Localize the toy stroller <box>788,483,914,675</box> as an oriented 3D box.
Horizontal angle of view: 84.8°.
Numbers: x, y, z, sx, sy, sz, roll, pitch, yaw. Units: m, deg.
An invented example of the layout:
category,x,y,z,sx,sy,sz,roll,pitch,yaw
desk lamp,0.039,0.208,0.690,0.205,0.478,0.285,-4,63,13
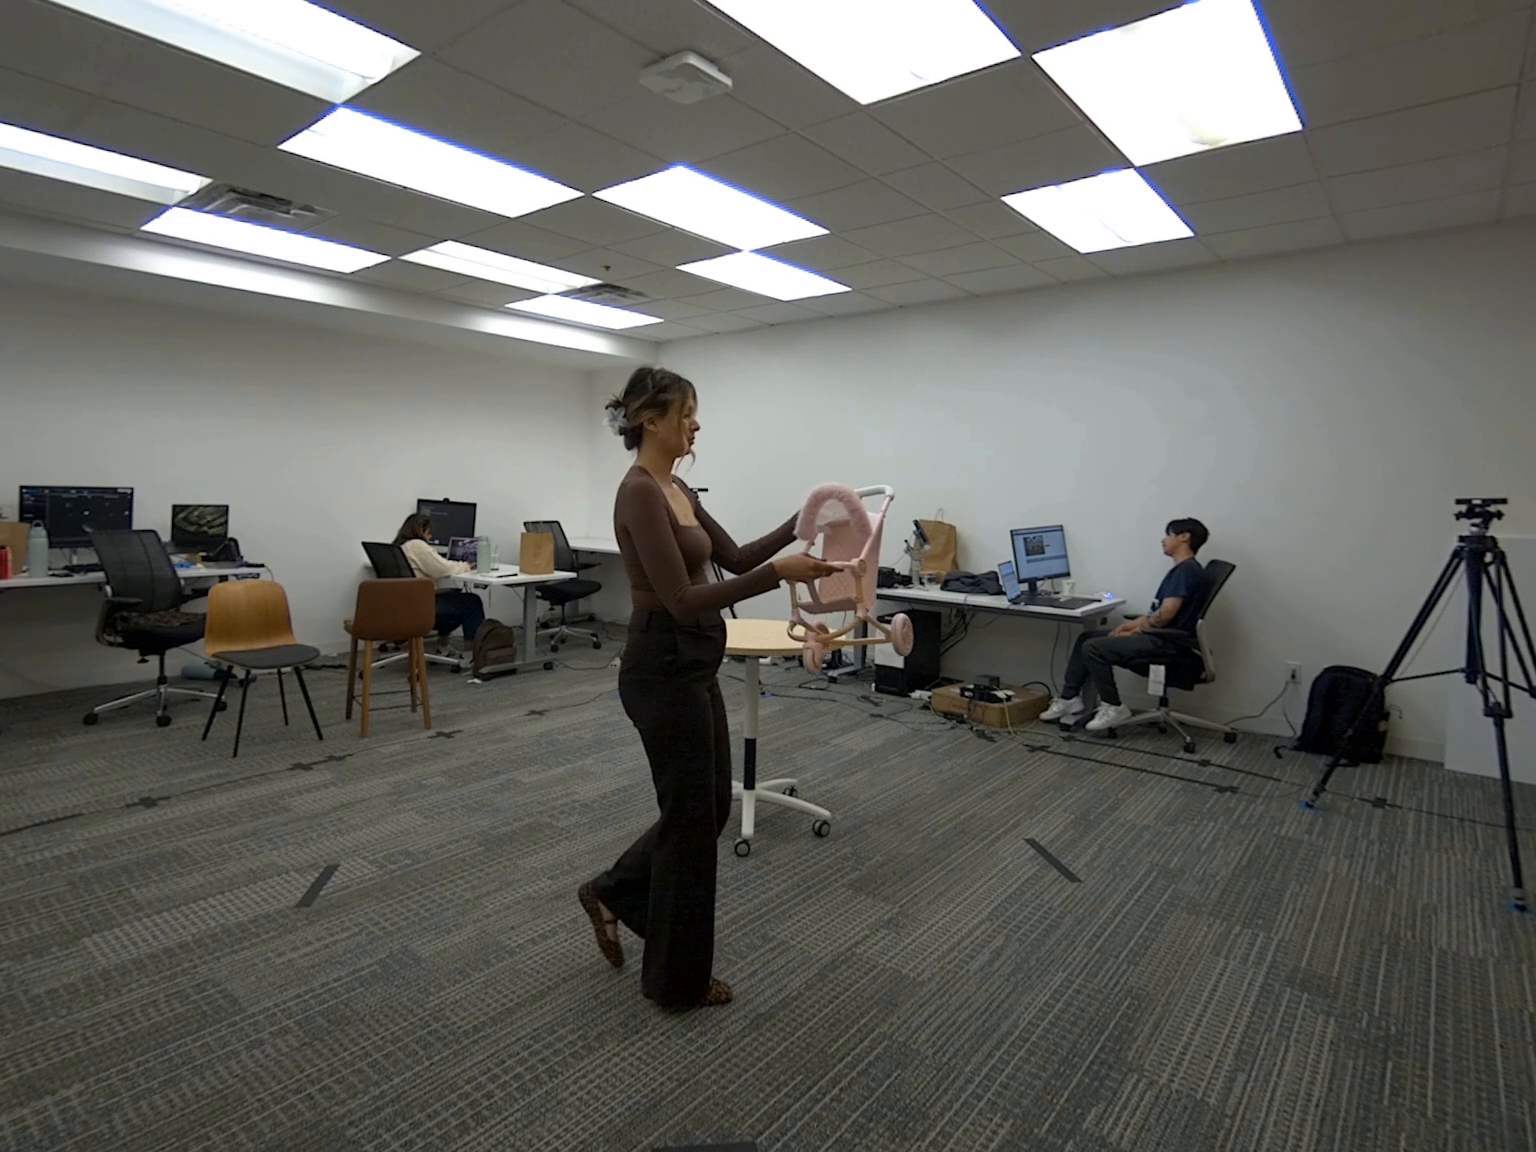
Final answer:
category,x,y,z,sx,sy,sz,roll,pitch,yaw
toy stroller,0.170,-0.003,2.217,0.289,0.541,0.328,-8,-15,37
